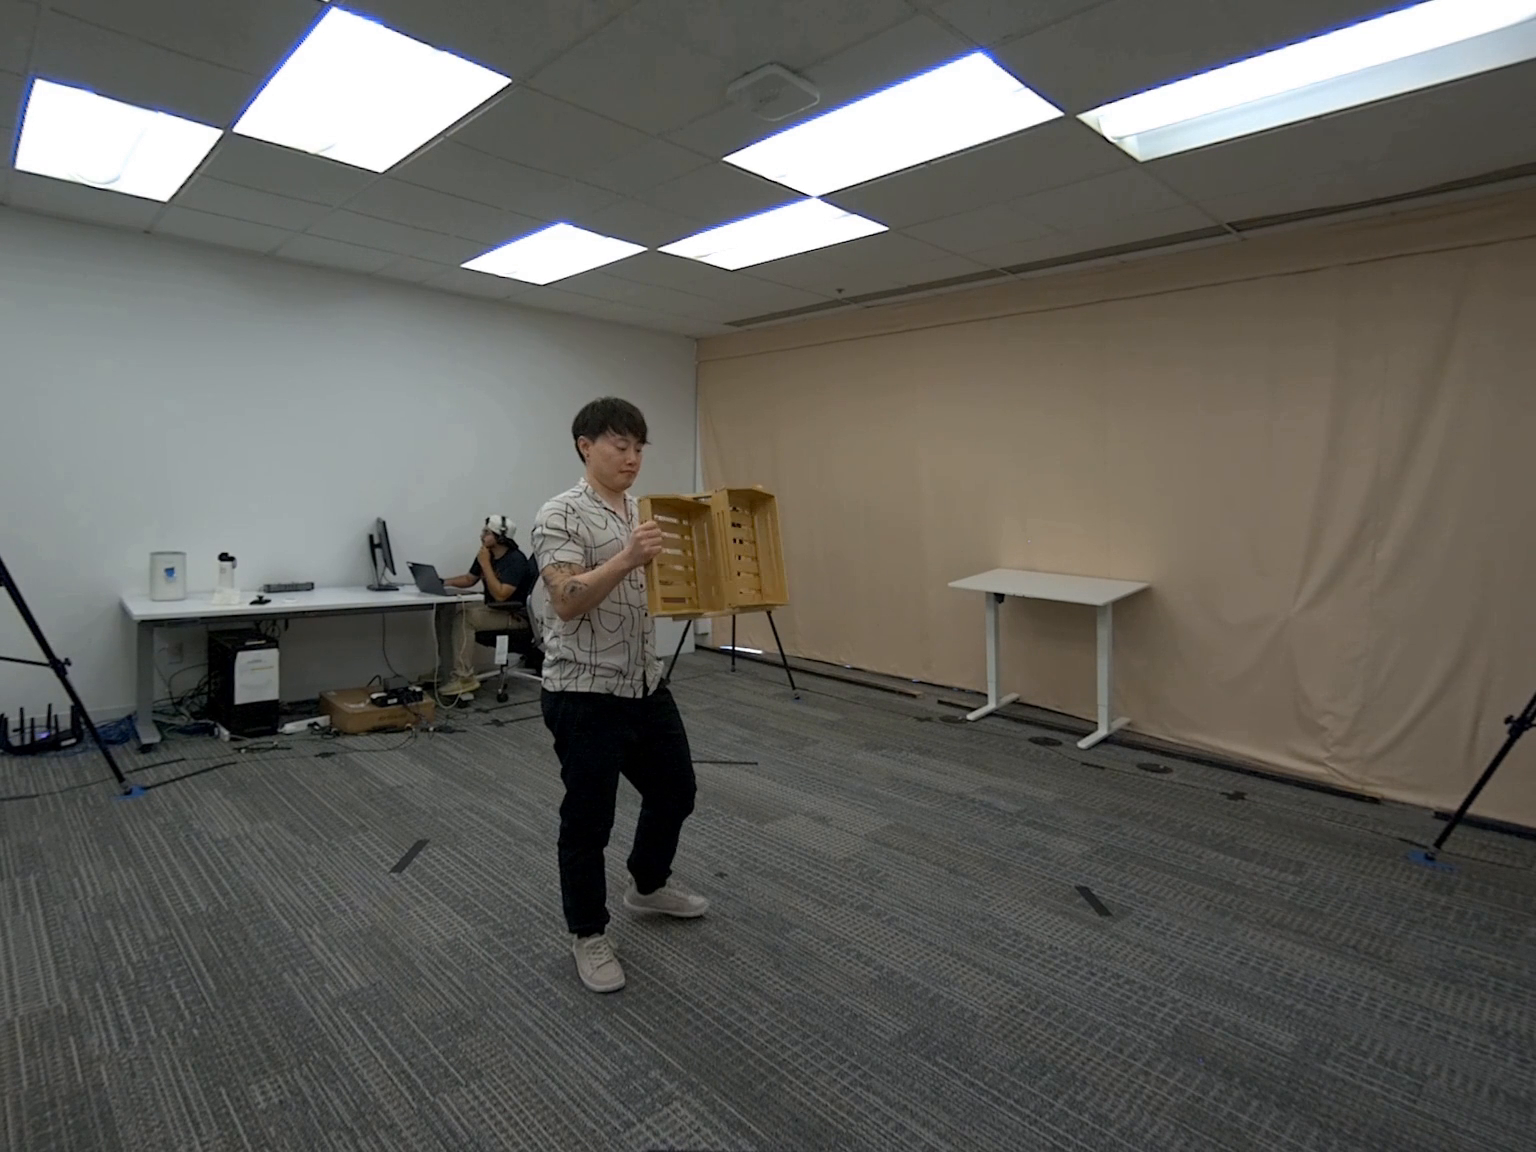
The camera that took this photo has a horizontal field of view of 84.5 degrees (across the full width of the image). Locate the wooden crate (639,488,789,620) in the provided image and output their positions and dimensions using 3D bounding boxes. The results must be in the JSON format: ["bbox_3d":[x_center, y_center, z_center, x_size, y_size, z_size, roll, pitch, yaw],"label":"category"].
[{"bbox_3d":[-0.144,-0.061,2.154,0.277,0.326,0.295,-10,-8,27],"label":"wooden crate"}]
